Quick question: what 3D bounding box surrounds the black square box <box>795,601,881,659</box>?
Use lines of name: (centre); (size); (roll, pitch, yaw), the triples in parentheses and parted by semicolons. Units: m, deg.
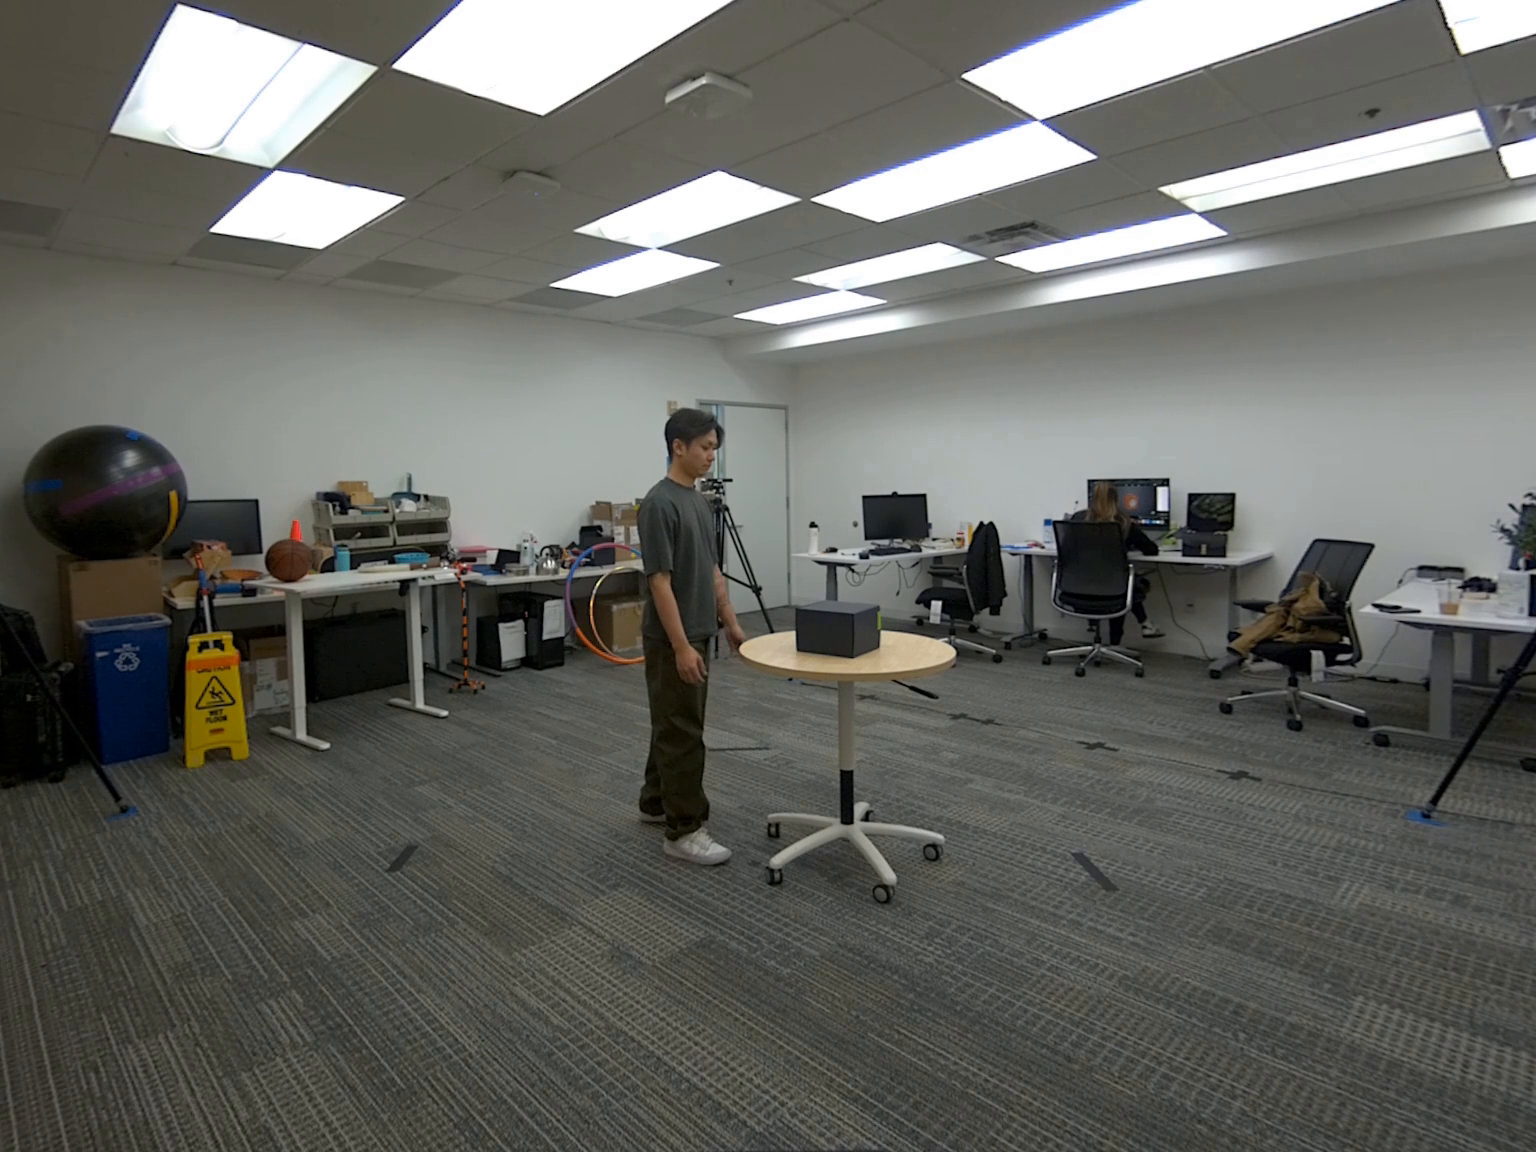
black square box: (0.256, 0.182, 3.040); (0.234, 0.155, 0.212); (3, 7, 34)
